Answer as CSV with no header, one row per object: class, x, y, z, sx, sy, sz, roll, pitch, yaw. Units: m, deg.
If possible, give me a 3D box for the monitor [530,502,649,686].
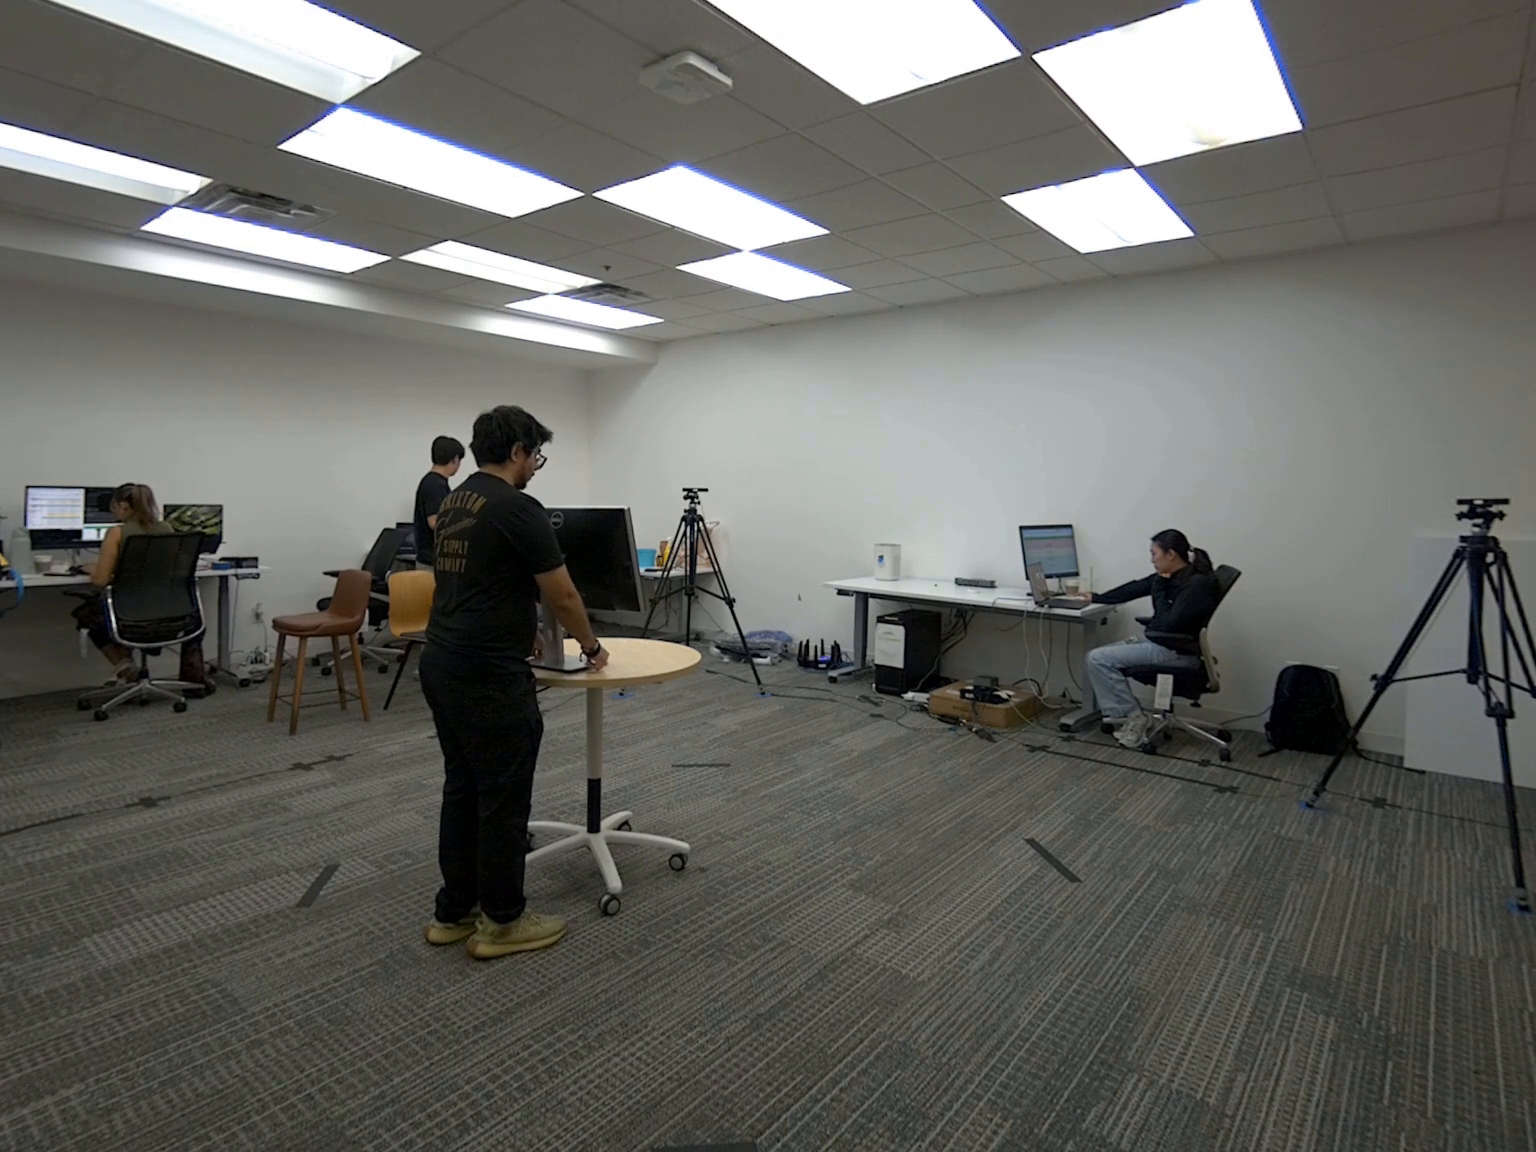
monitor,-0.717,0.037,2.874,0.582,0.549,0.206,3,11,30
